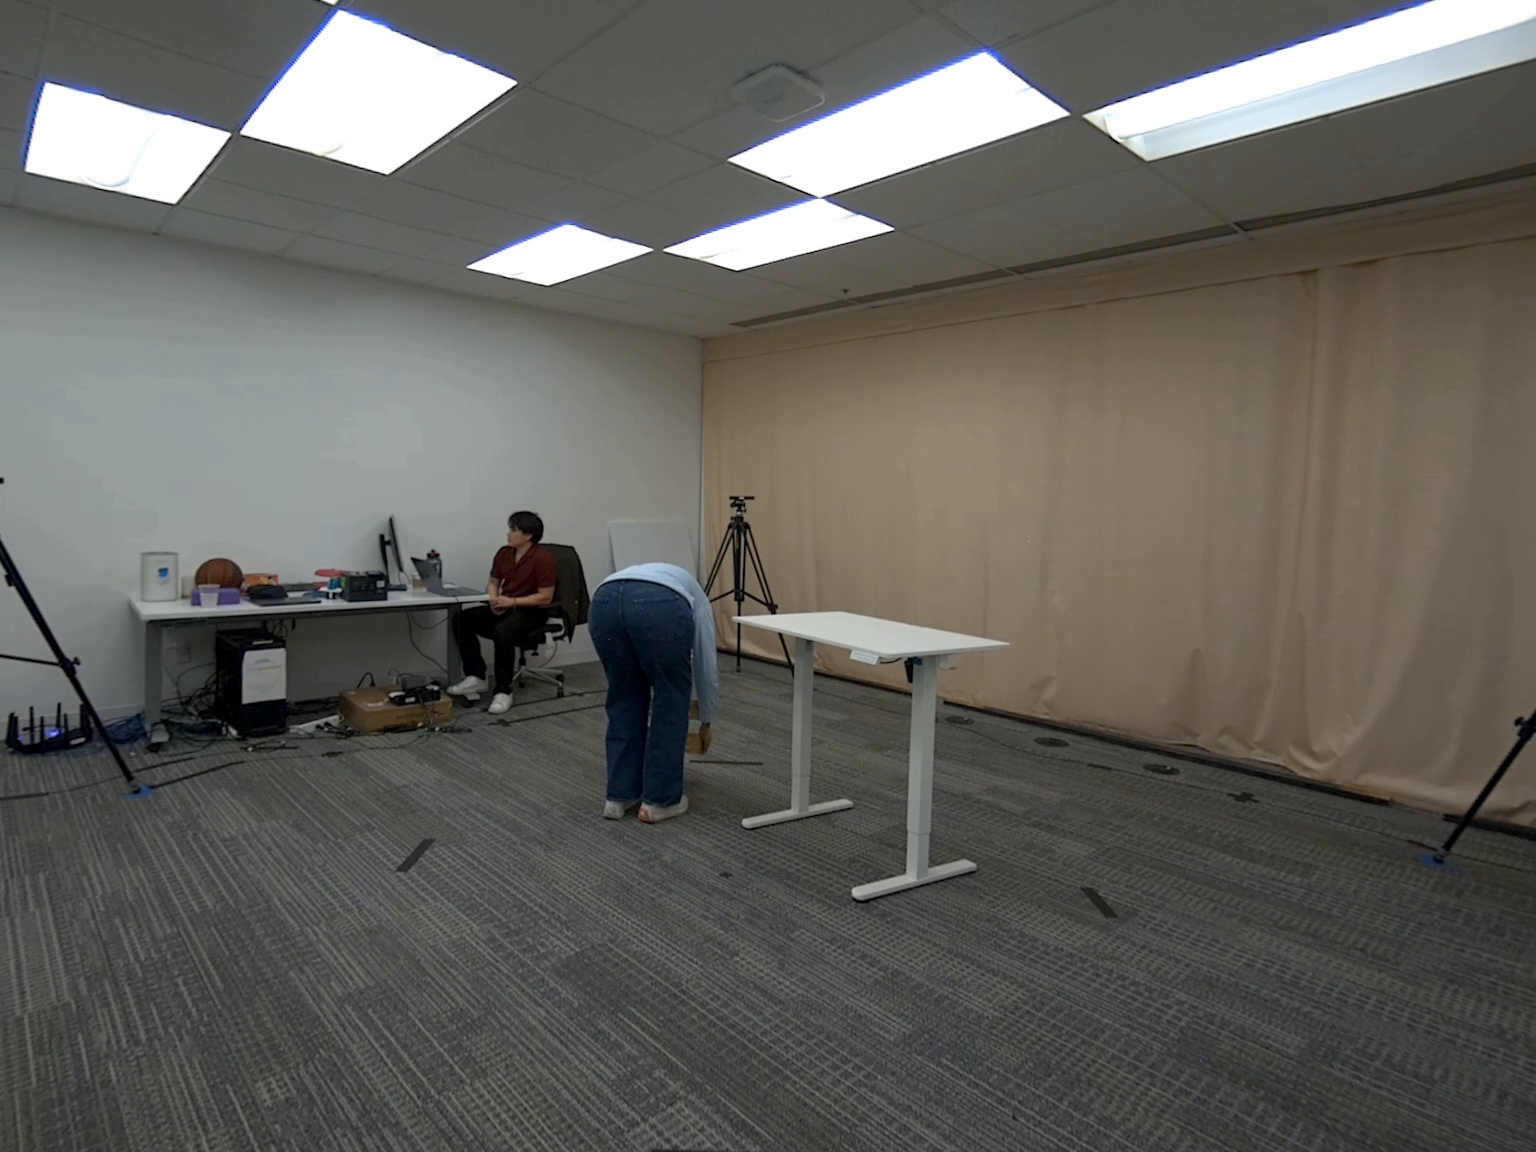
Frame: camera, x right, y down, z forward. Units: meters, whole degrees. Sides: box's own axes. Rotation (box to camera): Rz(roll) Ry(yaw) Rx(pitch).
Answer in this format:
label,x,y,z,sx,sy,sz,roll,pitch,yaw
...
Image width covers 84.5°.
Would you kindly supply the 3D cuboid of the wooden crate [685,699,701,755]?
label,x,y,z,sx,sy,sz,roll,pitch,yaw
wooden crate,-0.450,0.688,4.048,0.327,0.273,0.299,2,1,9
